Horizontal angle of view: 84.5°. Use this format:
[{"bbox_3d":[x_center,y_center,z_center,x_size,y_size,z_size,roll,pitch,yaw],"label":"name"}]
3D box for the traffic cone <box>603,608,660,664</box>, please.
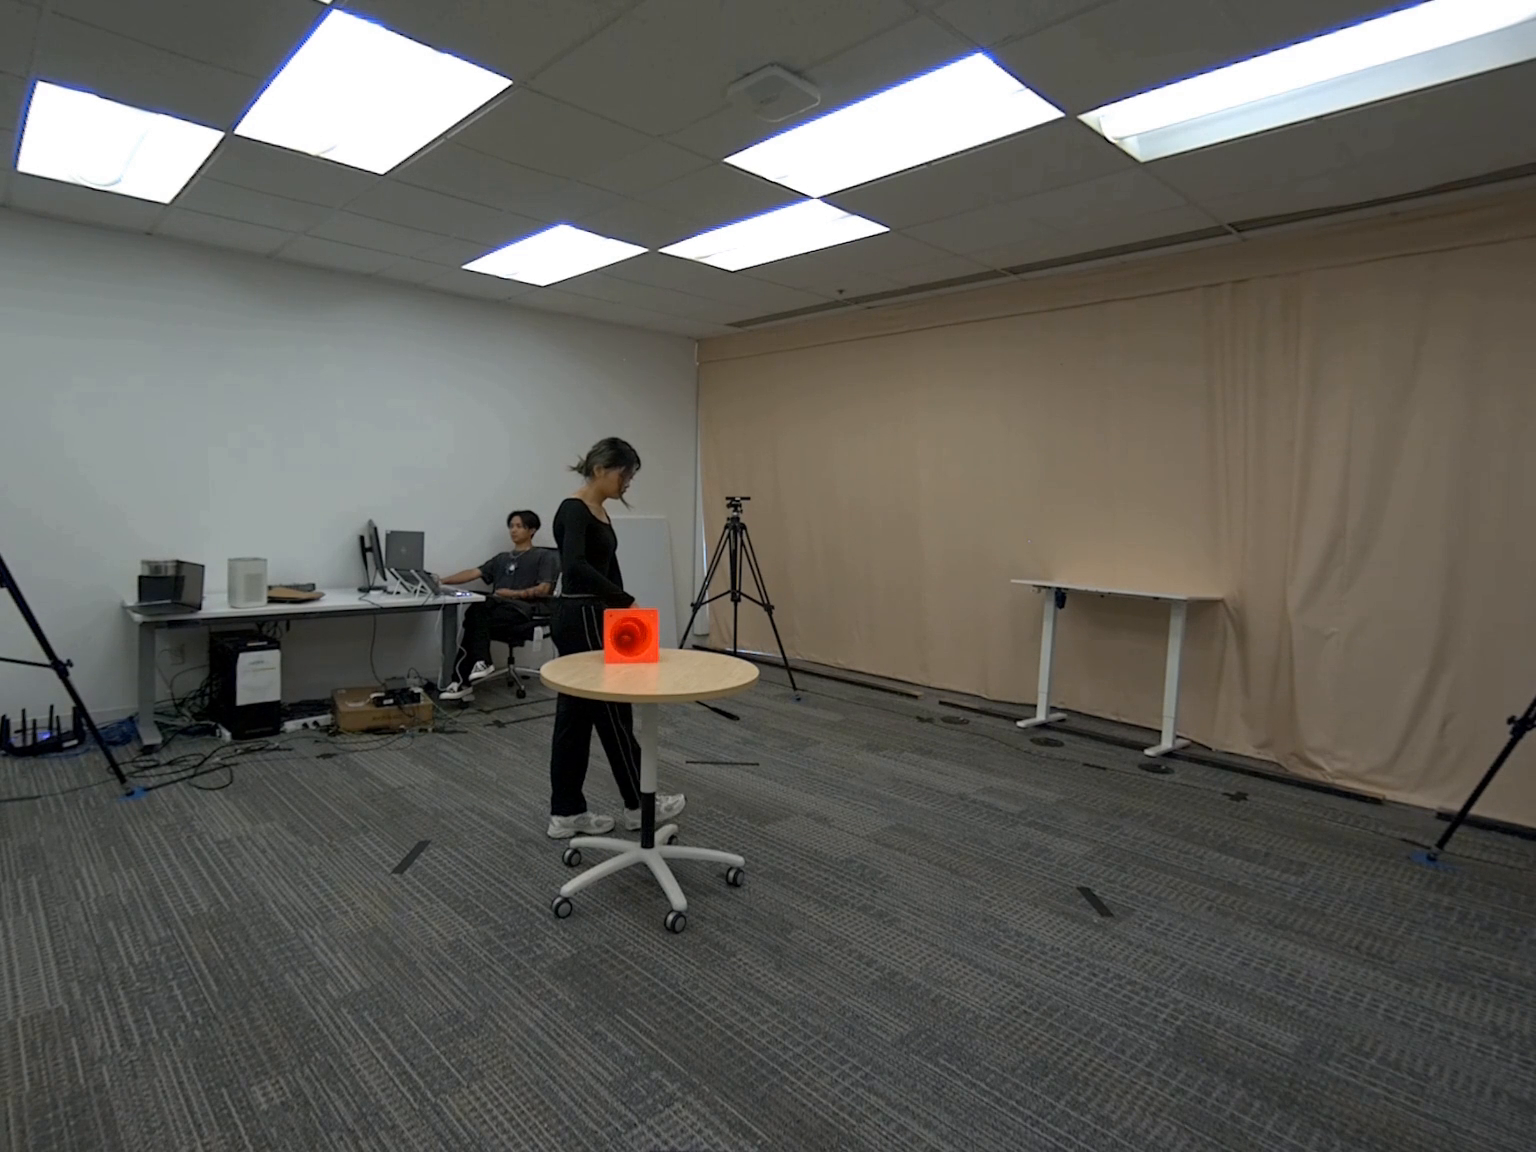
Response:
[{"bbox_3d":[-0.552,0.251,3.244,0.201,0.206,0.384,3,-10,-11],"label":"traffic cone"}]
